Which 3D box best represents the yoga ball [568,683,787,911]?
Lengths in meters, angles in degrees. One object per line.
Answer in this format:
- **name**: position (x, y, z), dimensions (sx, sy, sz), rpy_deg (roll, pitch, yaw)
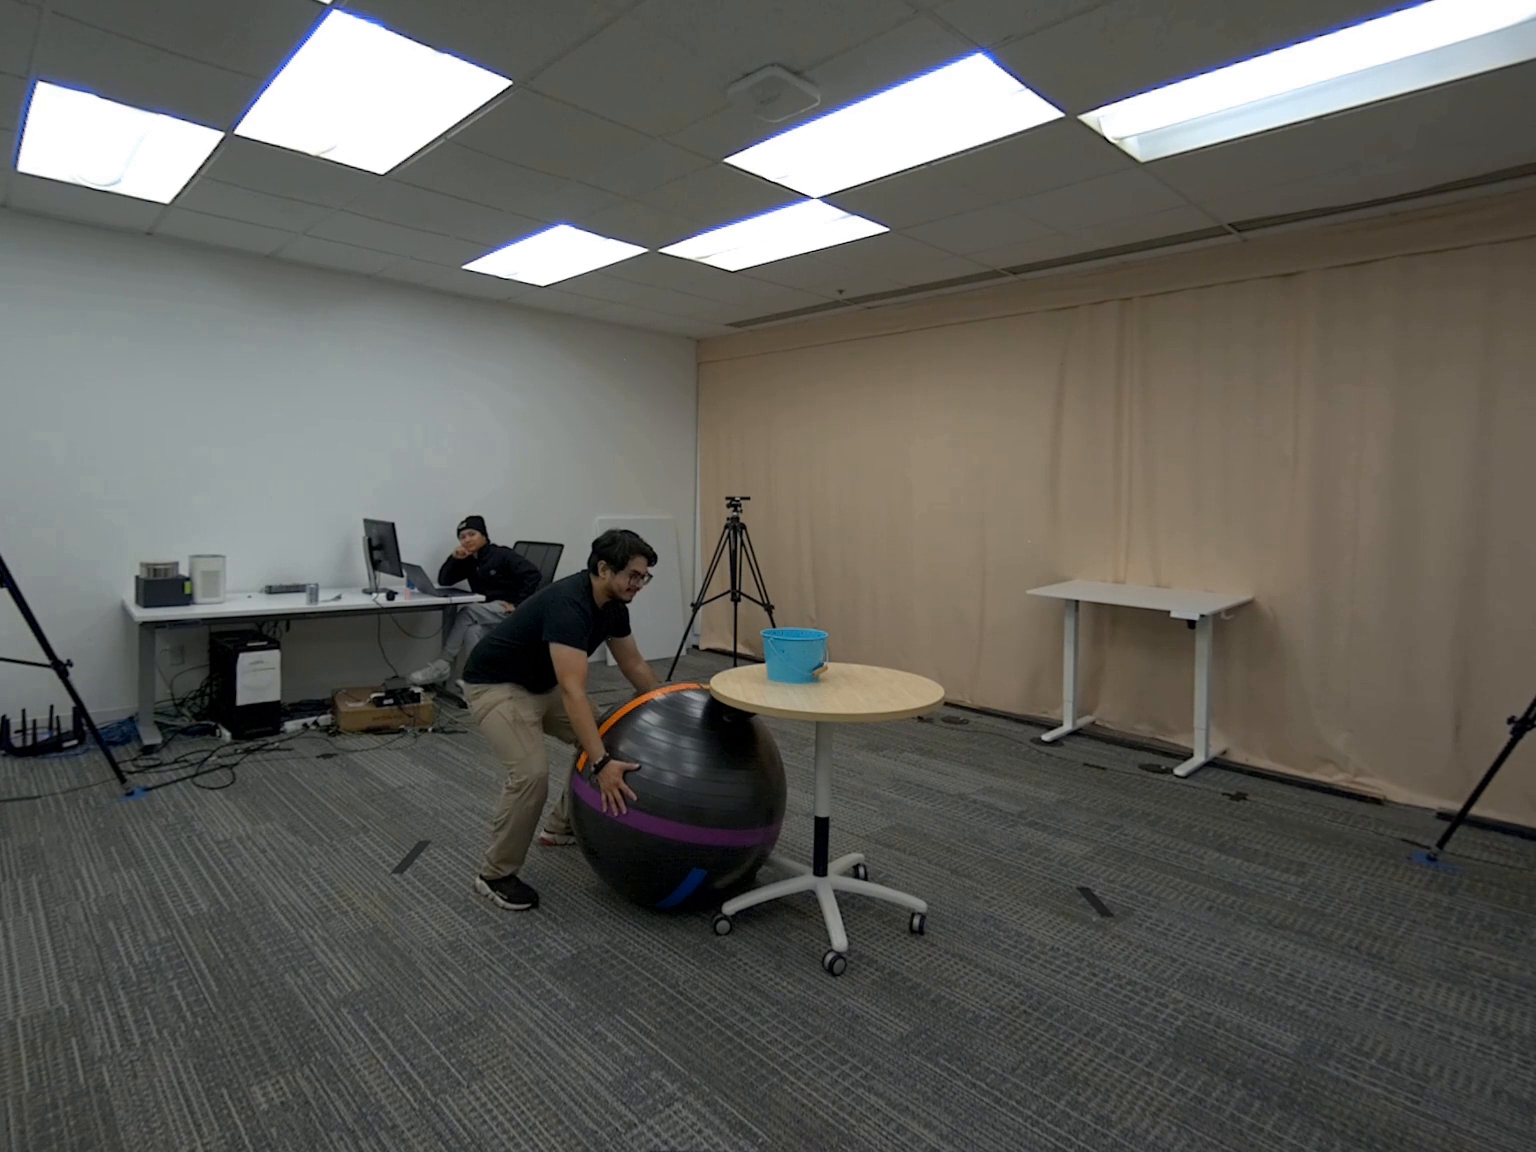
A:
- **yoga ball**: position (-0.324, 0.765, 2.947), dimensions (0.757, 0.756, 0.761), rpy_deg (1, 4, -1)
